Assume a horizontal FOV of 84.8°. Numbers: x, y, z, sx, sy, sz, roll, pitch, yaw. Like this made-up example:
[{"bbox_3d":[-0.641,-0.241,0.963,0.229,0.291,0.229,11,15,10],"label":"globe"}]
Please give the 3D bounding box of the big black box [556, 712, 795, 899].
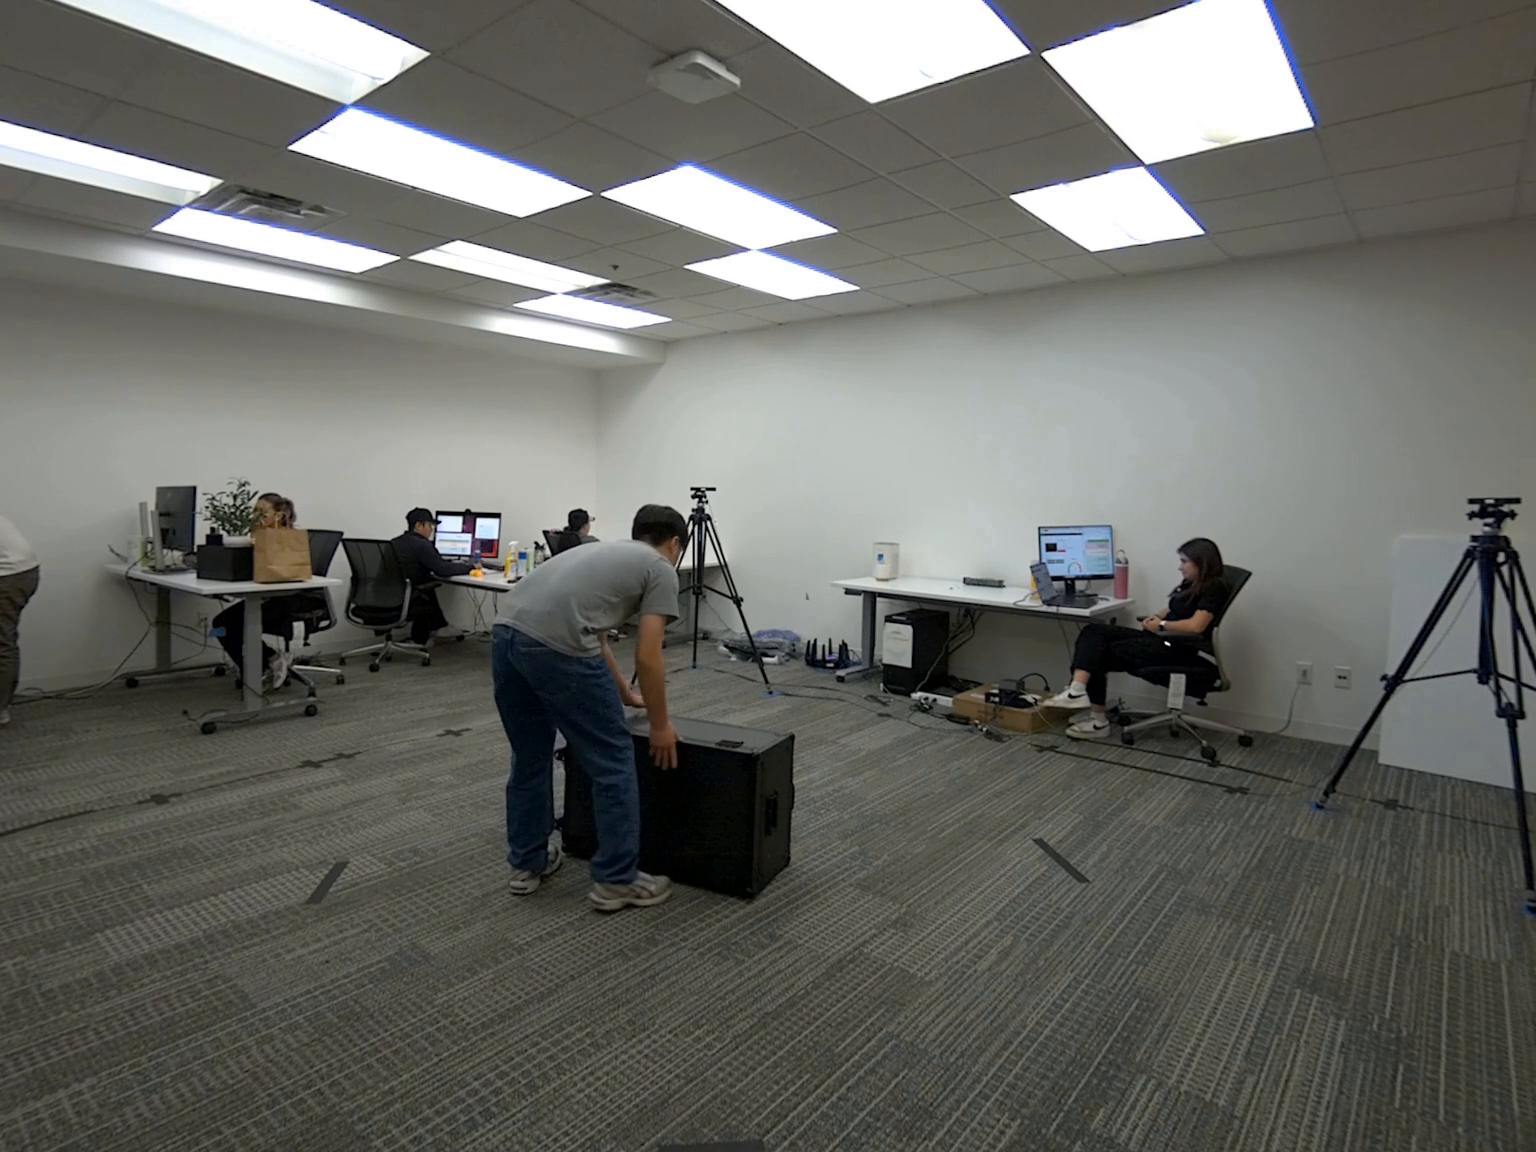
[{"bbox_3d":[-0.368,0.794,3.193,0.884,0.521,0.386,3,1,25],"label":"big black box"}]
